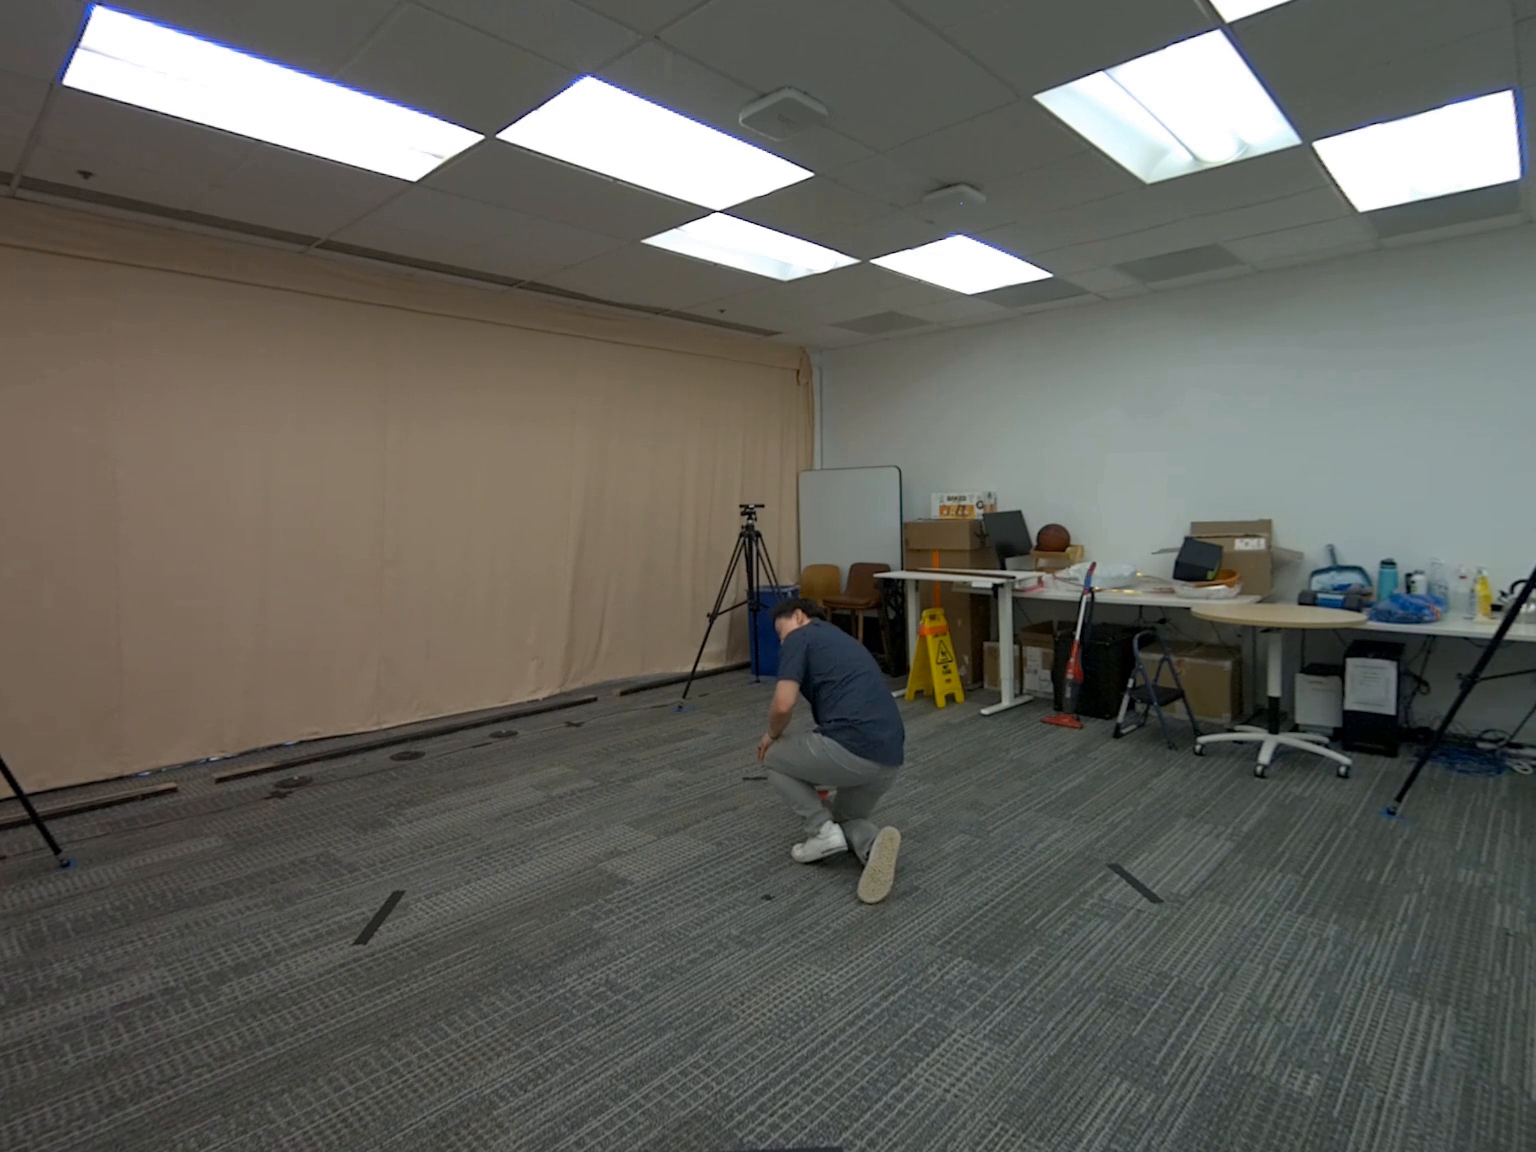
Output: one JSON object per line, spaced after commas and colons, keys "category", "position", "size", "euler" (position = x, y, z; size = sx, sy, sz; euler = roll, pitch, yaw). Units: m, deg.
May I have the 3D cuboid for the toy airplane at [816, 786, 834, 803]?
{"category": "toy airplane", "position": [0.283, 0.962, 3.875], "size": [0.256, 0.157, 0.253], "euler": [-22, -1, -14]}
